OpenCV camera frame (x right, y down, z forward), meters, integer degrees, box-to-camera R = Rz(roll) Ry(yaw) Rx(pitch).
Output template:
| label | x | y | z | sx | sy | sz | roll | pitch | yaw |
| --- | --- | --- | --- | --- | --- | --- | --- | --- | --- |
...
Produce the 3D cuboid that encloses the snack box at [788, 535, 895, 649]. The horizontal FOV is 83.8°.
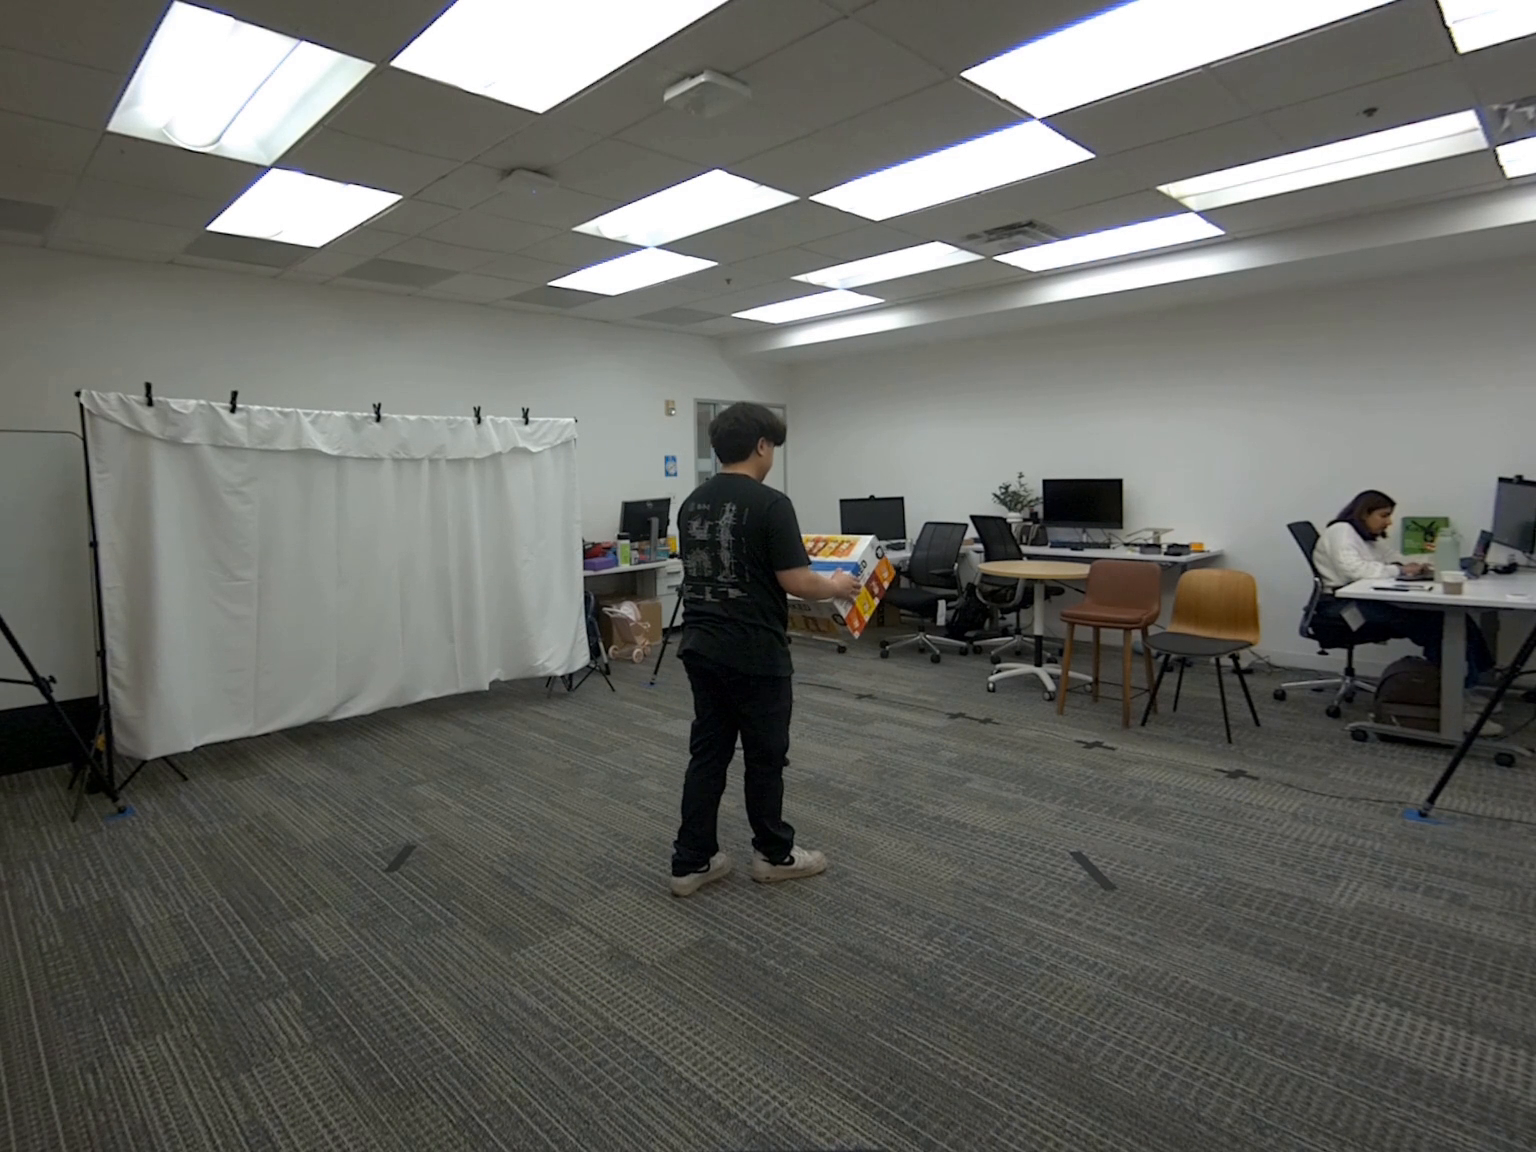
| label | x | y | z | sx | sy | sz | roll | pitch | yaw |
| --- | --- | --- | --- | --- | --- | --- | --- | --- | --- |
| snack box | 0.203 | 0.029 | 3.259 | 0.417 | 0.199 | 0.342 | 3 | 47 | 43 |
